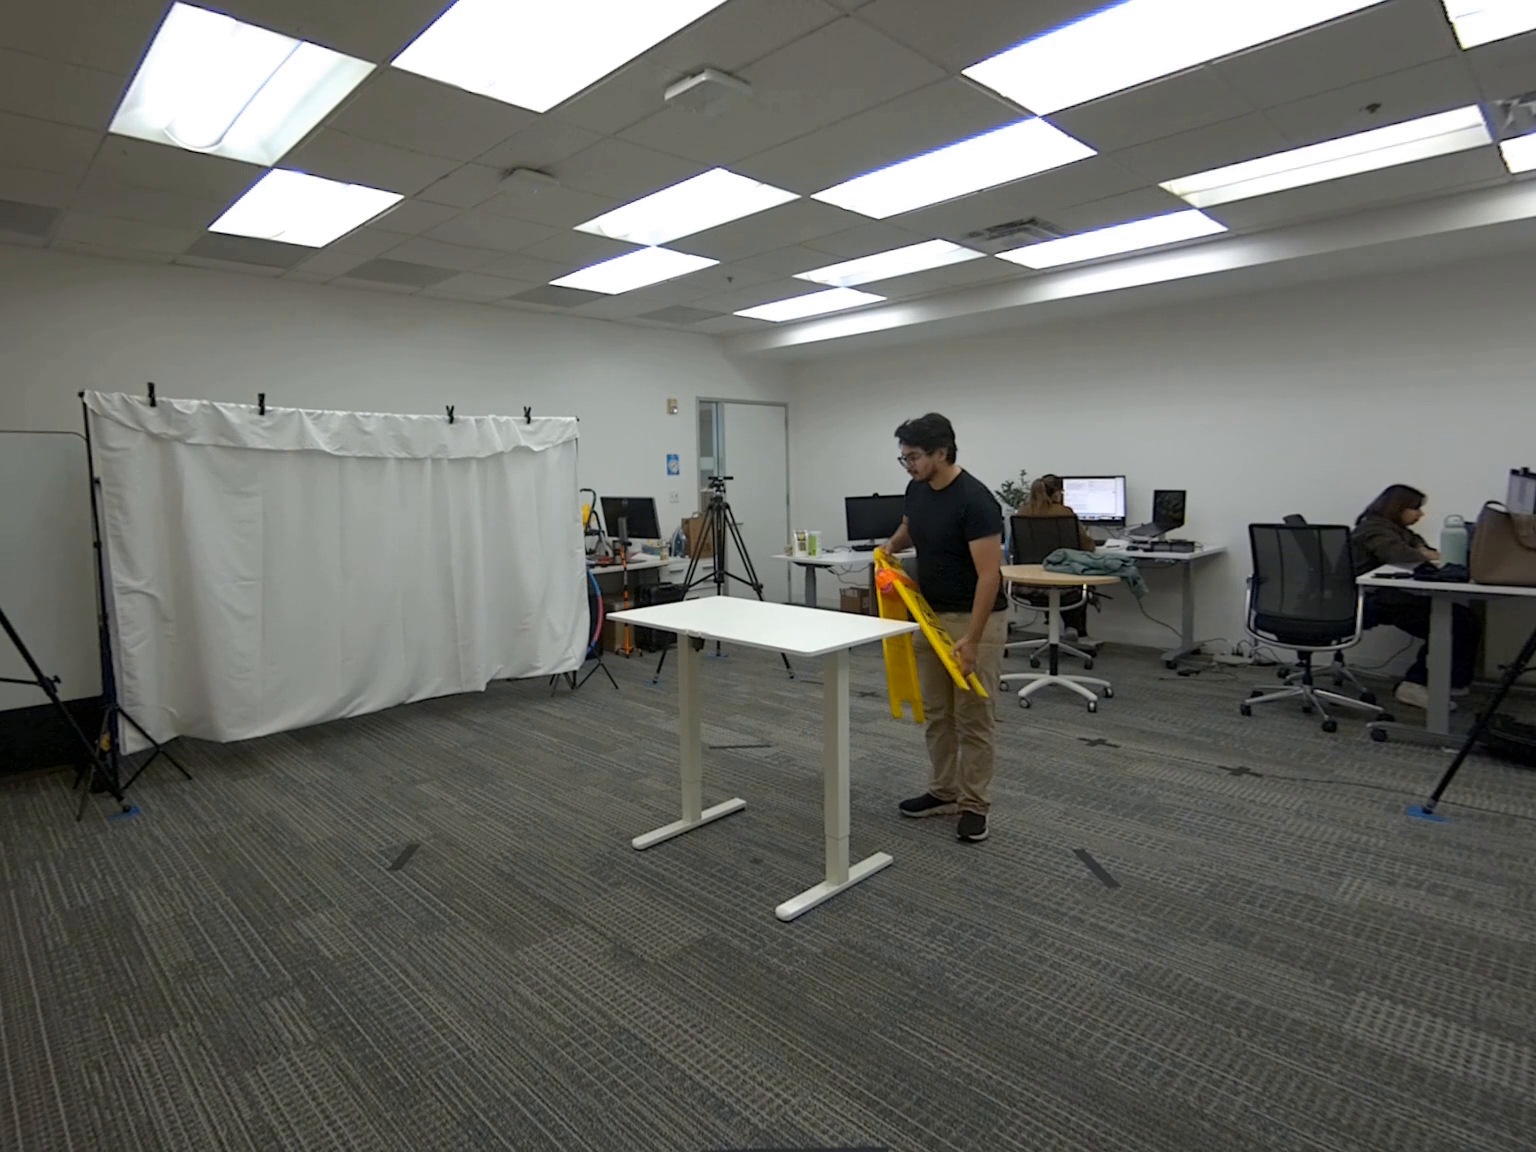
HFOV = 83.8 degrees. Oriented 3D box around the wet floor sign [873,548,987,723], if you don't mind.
[{"bbox_3d":[0.552,0.197,3.272,0.292,0.664,0.272,-30,-30,23],"label":"wet floor sign"}]
